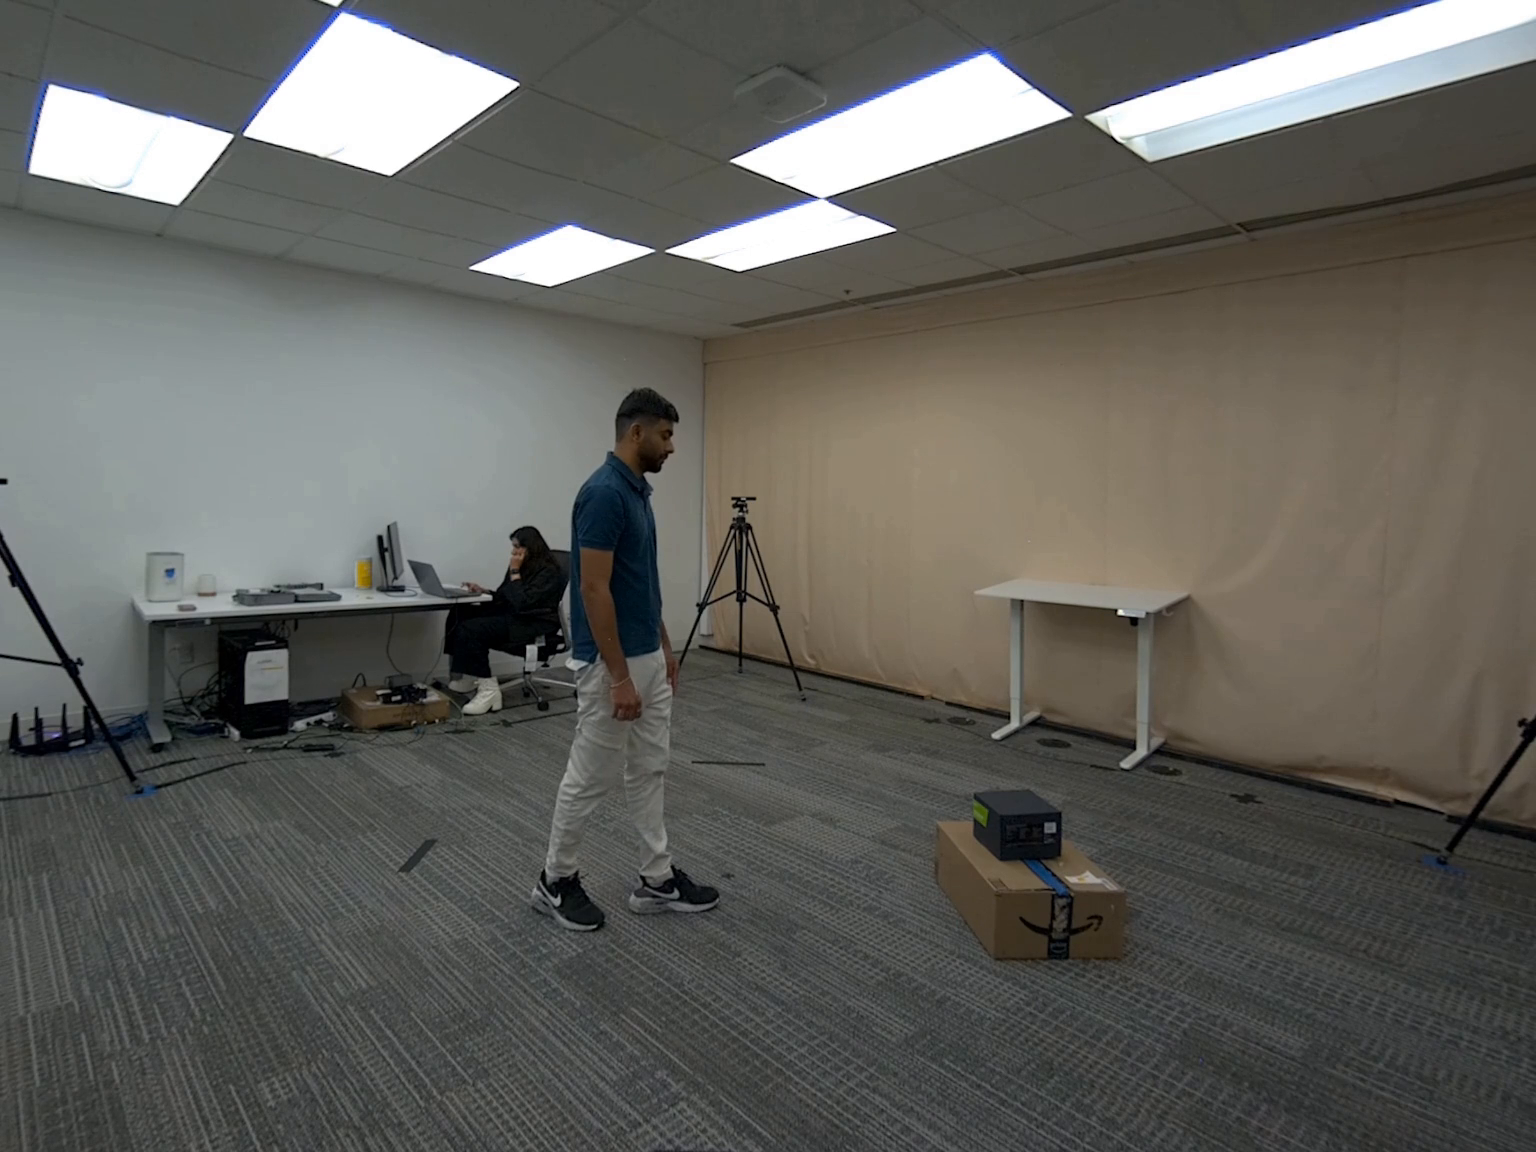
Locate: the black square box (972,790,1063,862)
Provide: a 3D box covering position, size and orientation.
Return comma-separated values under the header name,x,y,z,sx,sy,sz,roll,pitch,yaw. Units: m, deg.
name,x,y,z,sx,sy,sz,roll,pitch,yaw
black square box,0.845,0.850,2.903,0.215,0.155,0.230,-1,4,-9
